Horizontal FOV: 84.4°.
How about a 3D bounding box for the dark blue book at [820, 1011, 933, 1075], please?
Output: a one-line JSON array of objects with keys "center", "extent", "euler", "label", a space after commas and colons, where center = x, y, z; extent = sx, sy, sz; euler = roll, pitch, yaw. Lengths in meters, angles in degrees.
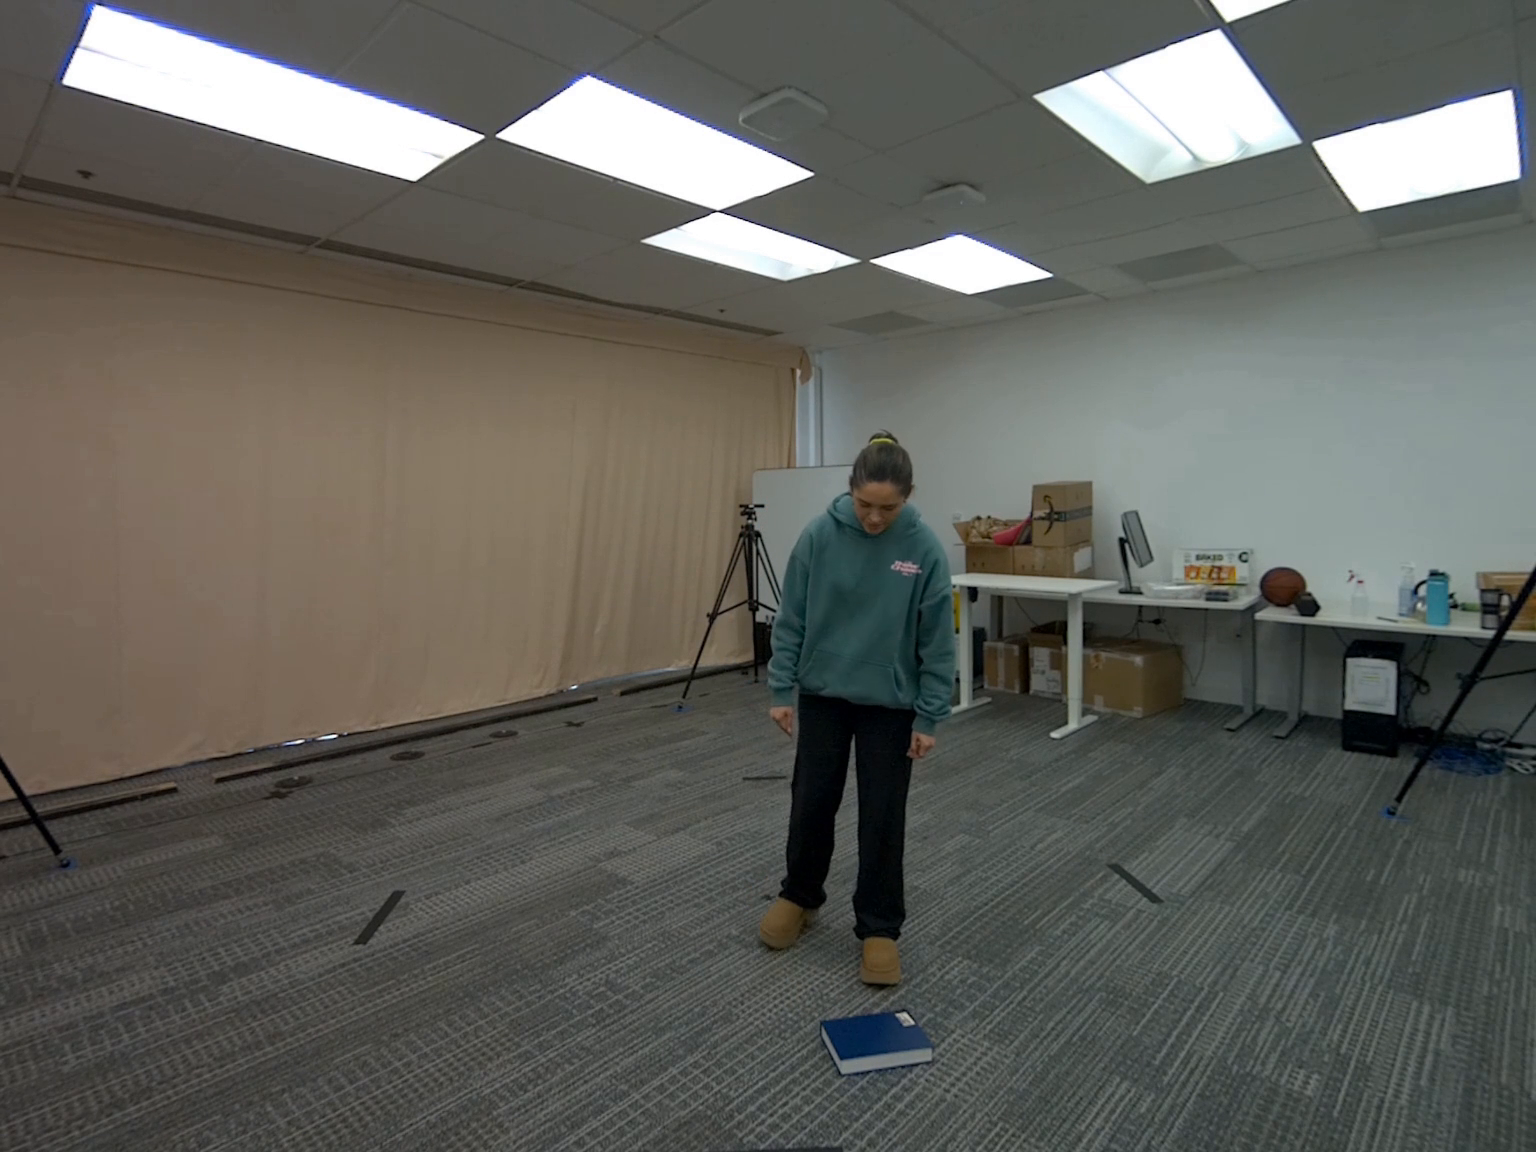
[{"center": [0.277, 1.176, 2.148], "extent": [0.242, 0.045, 0.166], "euler": [-2, 5, -12], "label": "dark blue book"}]
